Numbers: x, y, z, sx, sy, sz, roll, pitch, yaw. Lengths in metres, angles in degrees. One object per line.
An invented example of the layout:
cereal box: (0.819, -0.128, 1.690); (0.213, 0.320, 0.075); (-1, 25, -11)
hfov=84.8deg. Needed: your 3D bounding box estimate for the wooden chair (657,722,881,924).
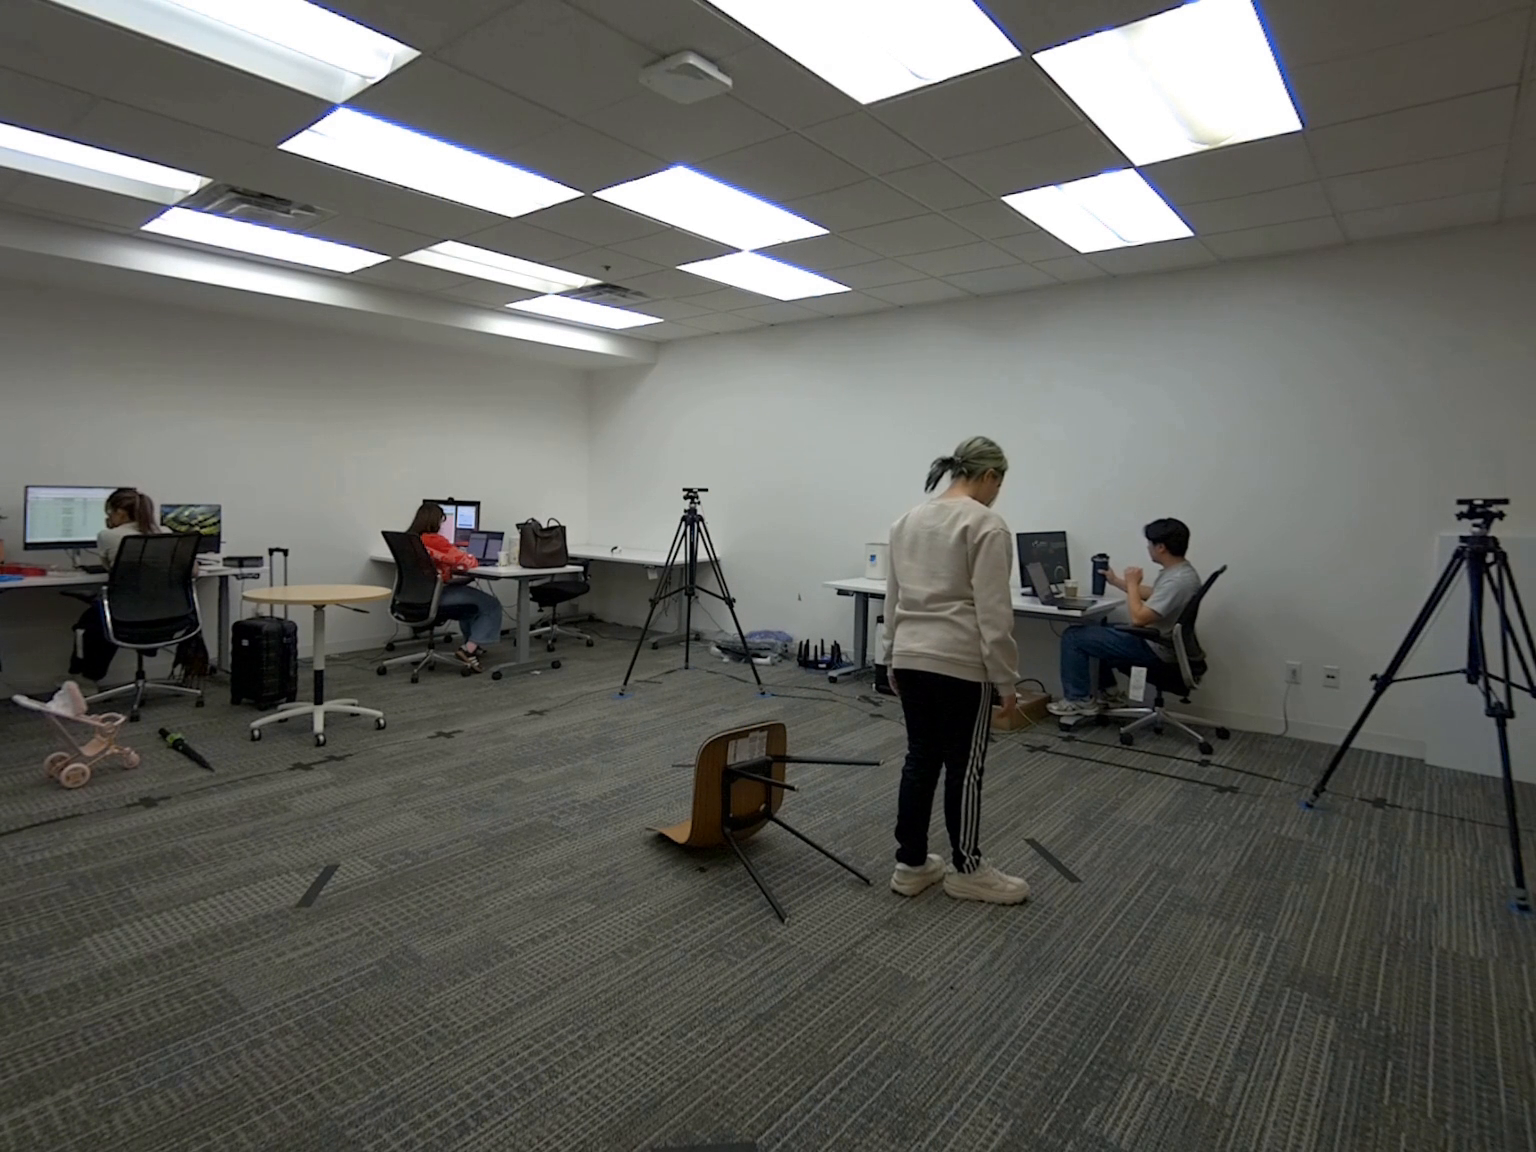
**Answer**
wooden chair: (-0.080, 0.810, 3.163); (0.463, 0.522, 0.907); (-2, 5, -43)
